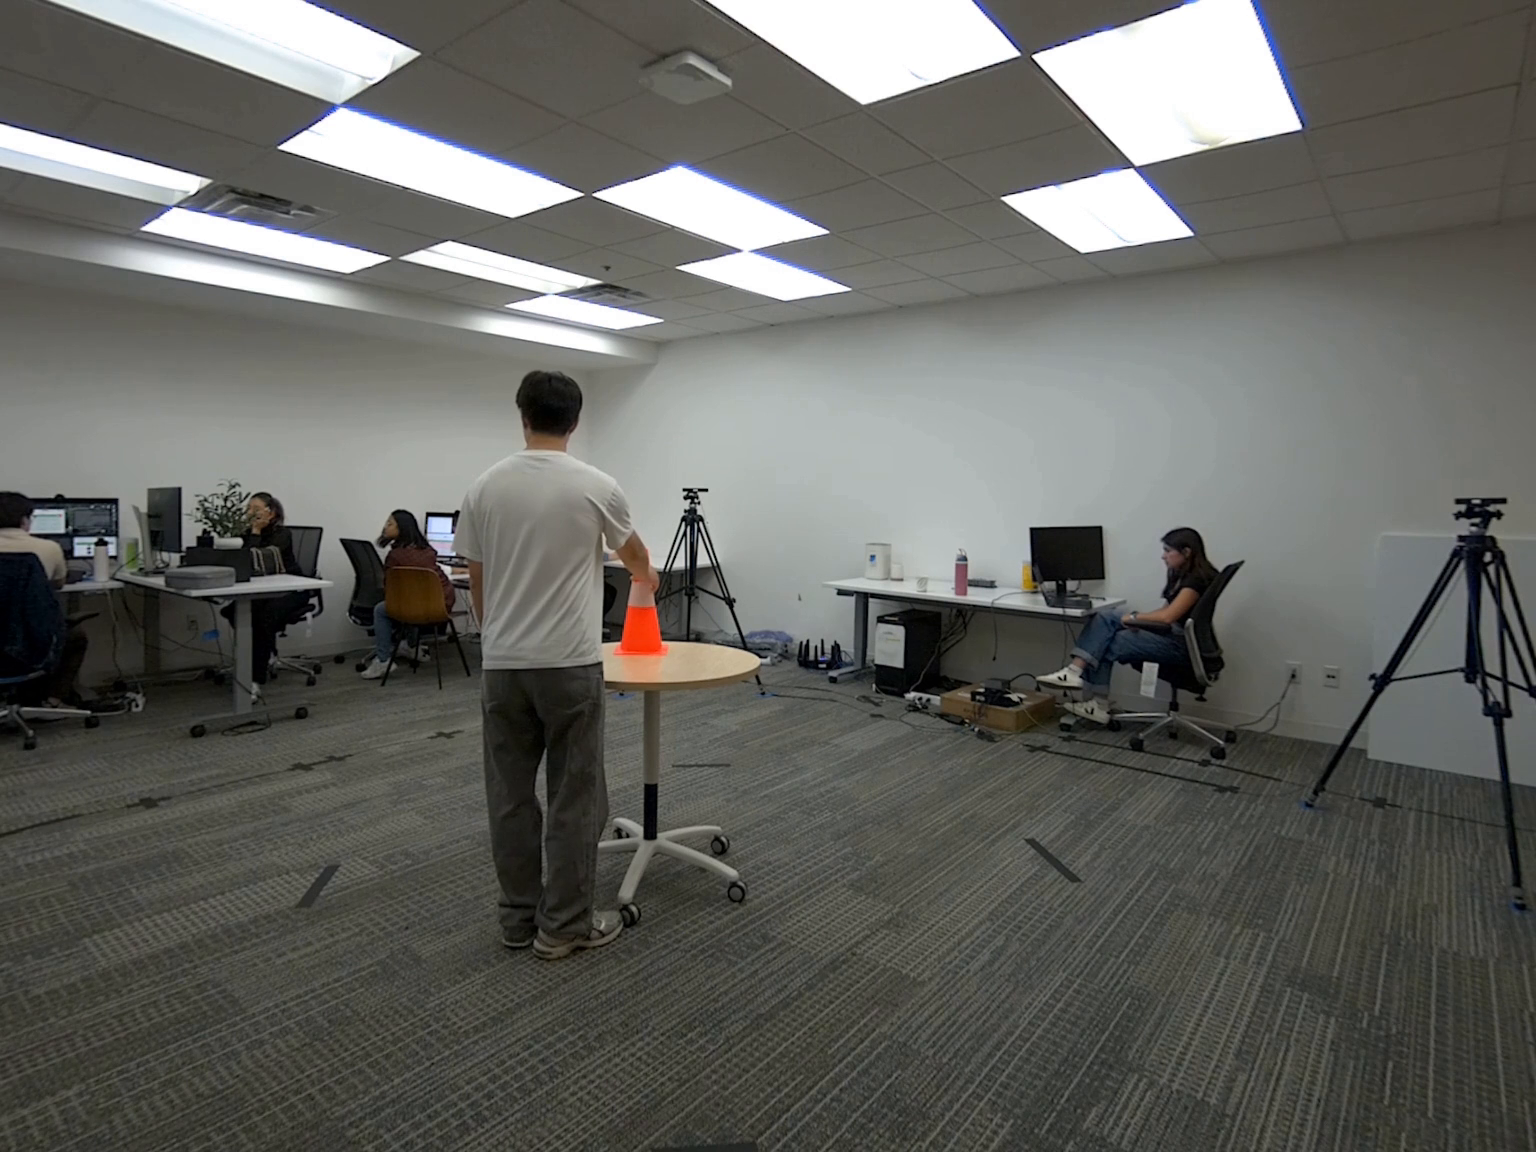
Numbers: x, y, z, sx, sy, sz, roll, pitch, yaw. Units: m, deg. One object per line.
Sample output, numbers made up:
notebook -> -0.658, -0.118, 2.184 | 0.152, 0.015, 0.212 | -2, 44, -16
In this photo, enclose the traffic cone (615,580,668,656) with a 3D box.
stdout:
traffic cone -> -0.471, 0.080, 3.182 | 0.205, 0.383, 0.204 | 1, 3, -3
